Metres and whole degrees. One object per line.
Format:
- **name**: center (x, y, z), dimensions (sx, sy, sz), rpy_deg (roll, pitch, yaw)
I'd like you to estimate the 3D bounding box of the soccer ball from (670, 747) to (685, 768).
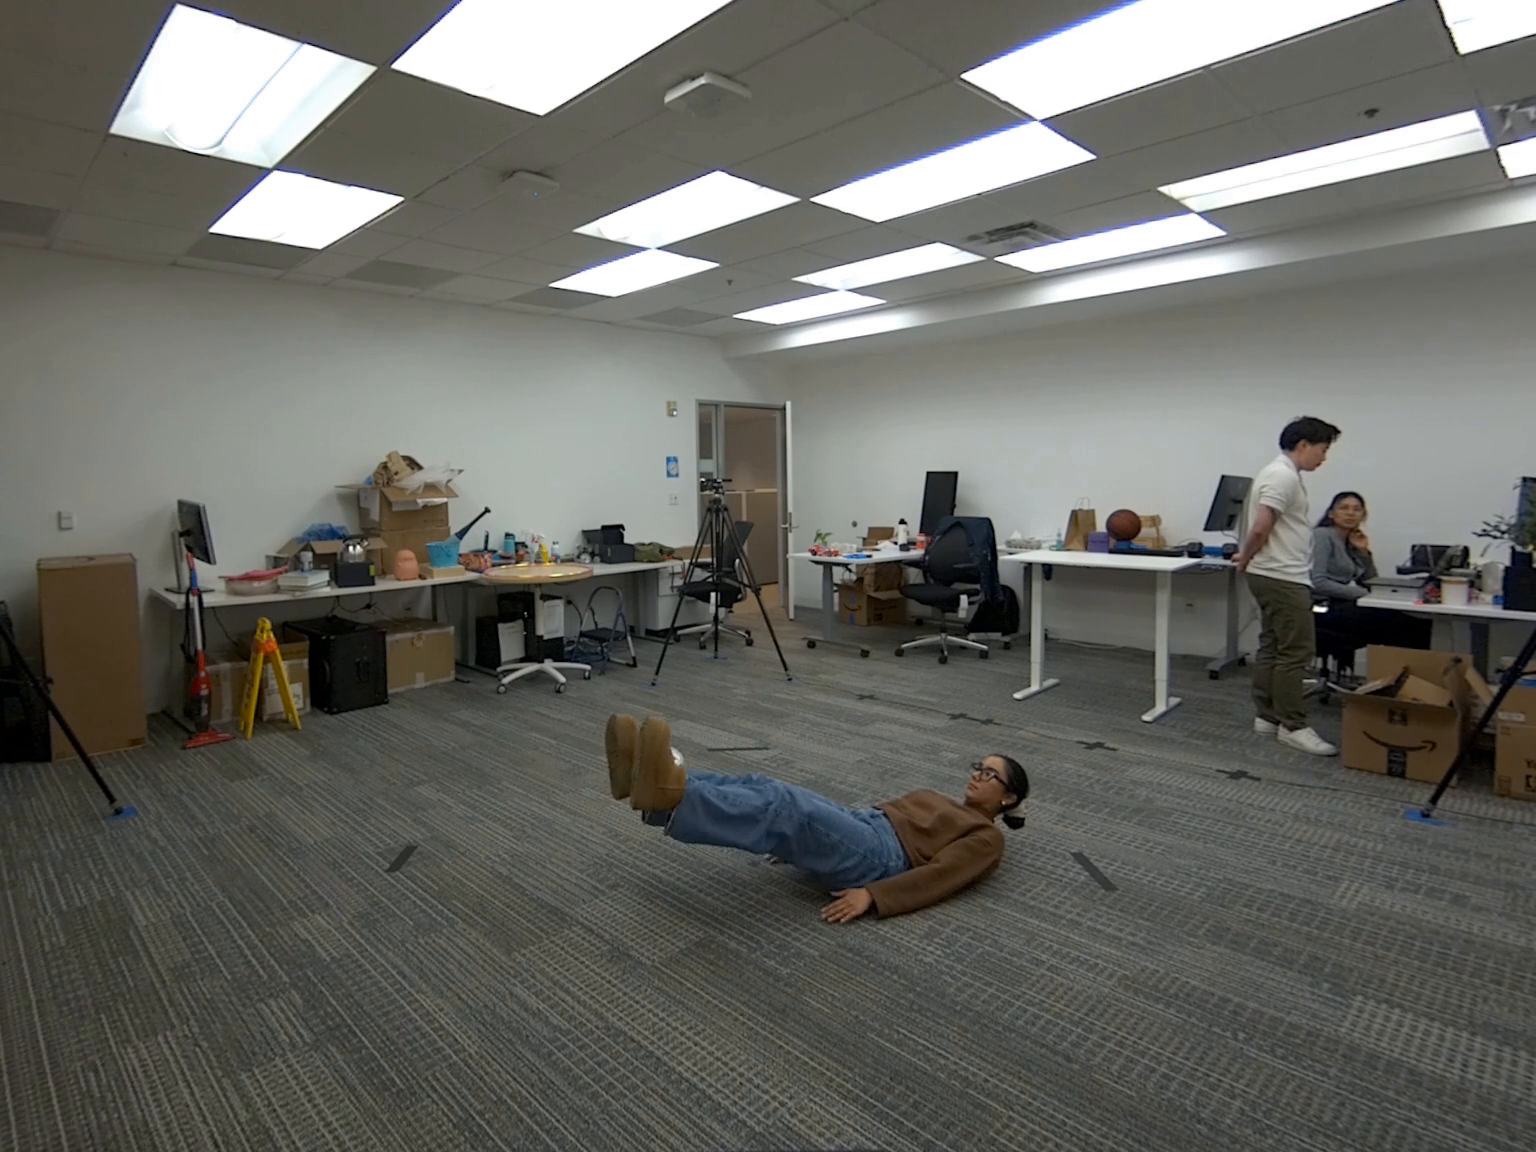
- **soccer ball**: center (-0.338, 0.650, 2.717), dimensions (0.187, 0.187, 0.188), rpy_deg (-1, 5, -2)
